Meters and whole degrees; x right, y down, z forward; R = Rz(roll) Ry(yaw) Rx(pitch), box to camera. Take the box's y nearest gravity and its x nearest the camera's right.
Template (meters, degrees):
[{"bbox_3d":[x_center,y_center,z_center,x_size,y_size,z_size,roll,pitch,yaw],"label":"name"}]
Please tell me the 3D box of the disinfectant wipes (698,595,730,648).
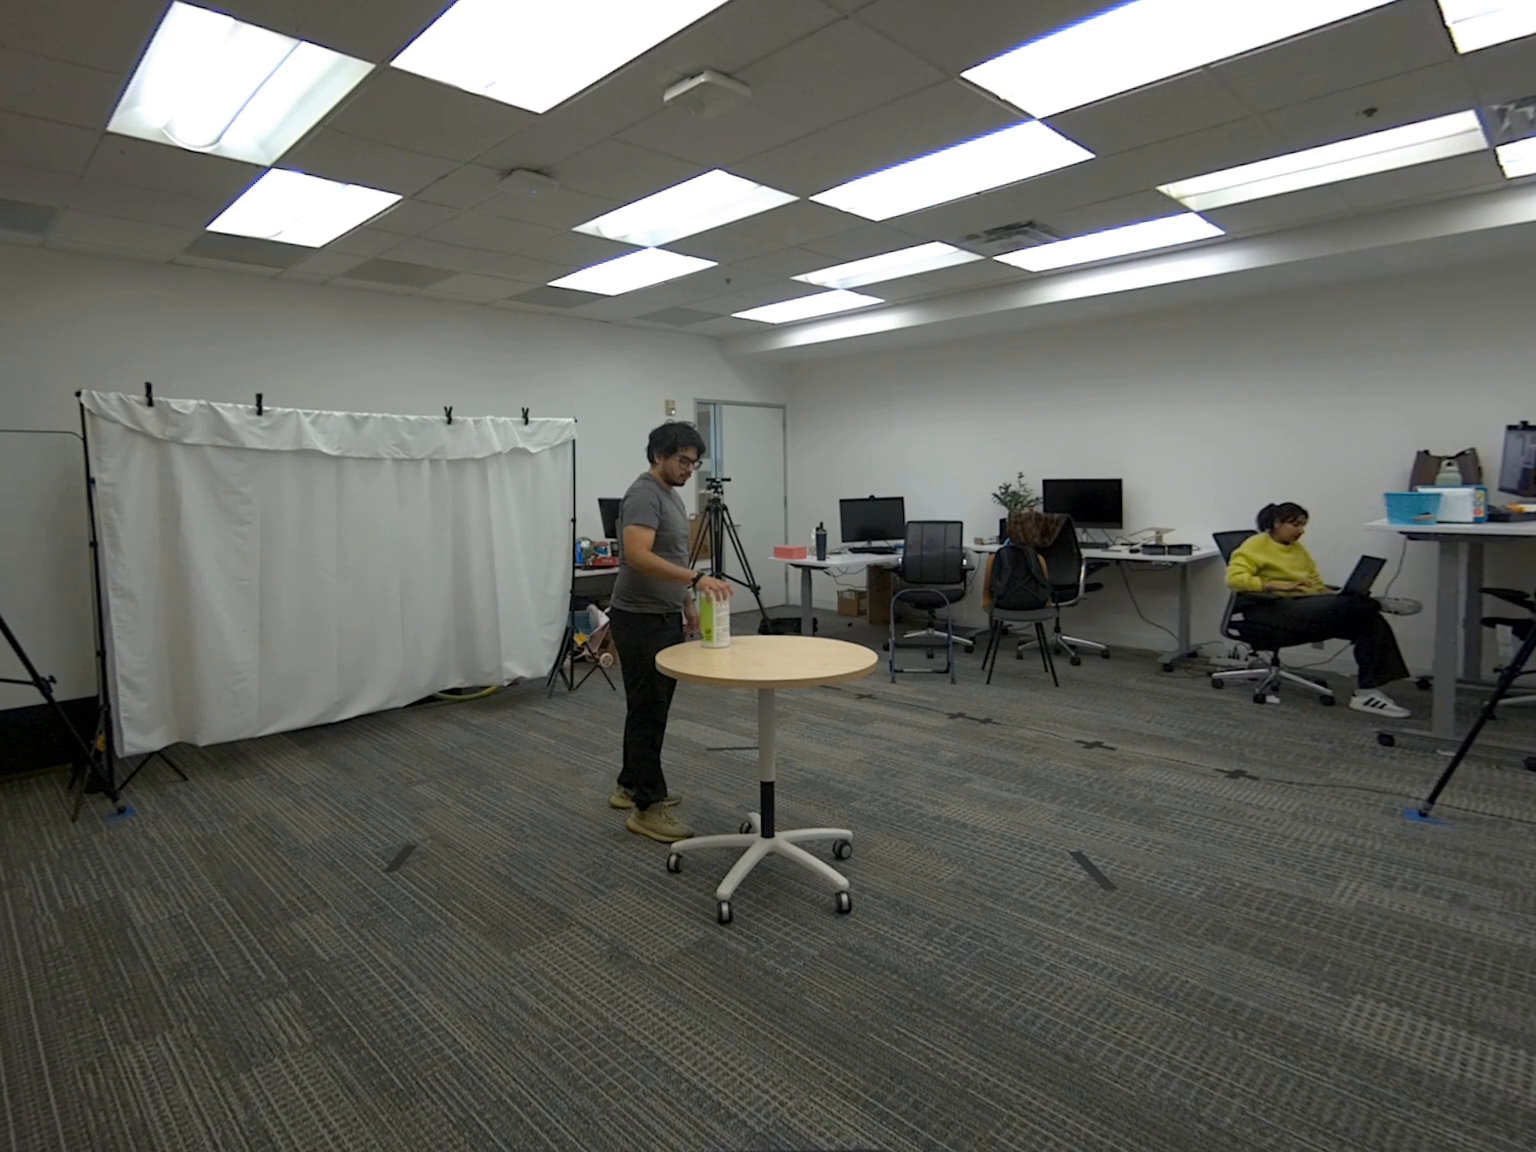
[{"bbox_3d":[-0.188,0.153,3.138,0.118,0.217,0.118,-3,3,-1],"label":"disinfectant wipes"}]
